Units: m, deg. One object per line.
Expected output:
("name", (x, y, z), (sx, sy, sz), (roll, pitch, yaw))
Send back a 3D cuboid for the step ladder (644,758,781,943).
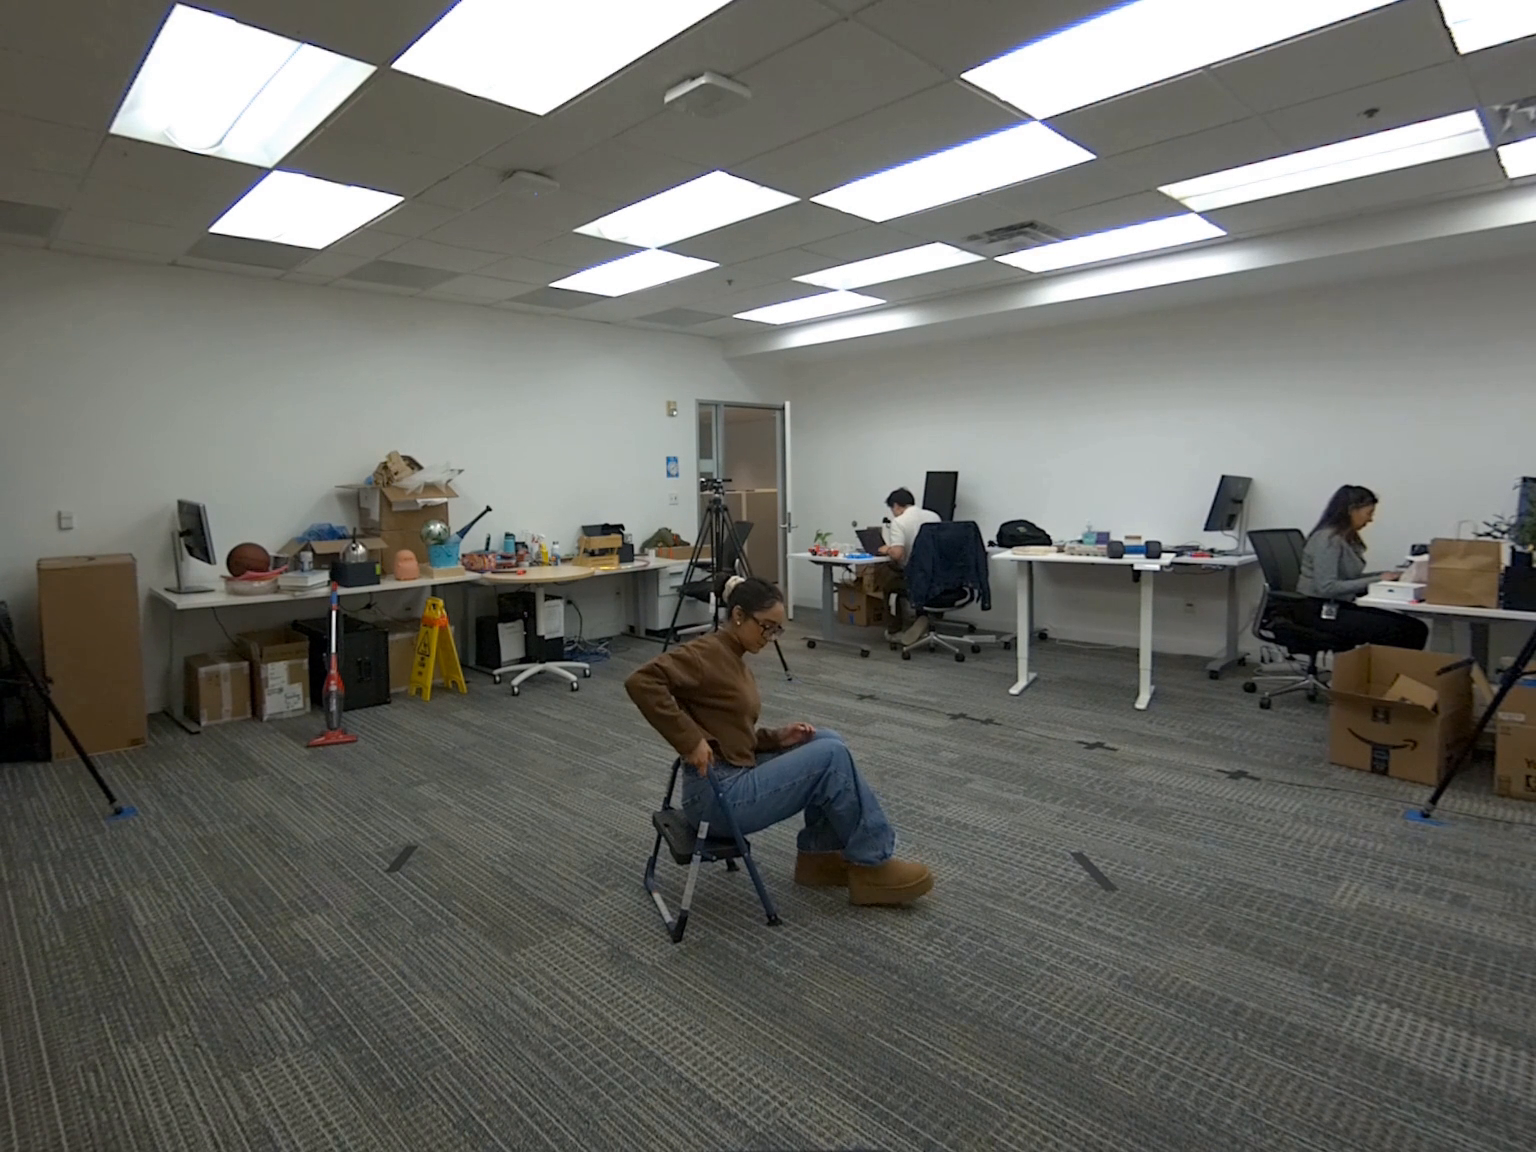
("step ladder", (-0.199, 0.783, 2.804), (0.343, 0.604, 0.440), (-2, 4, -21))
